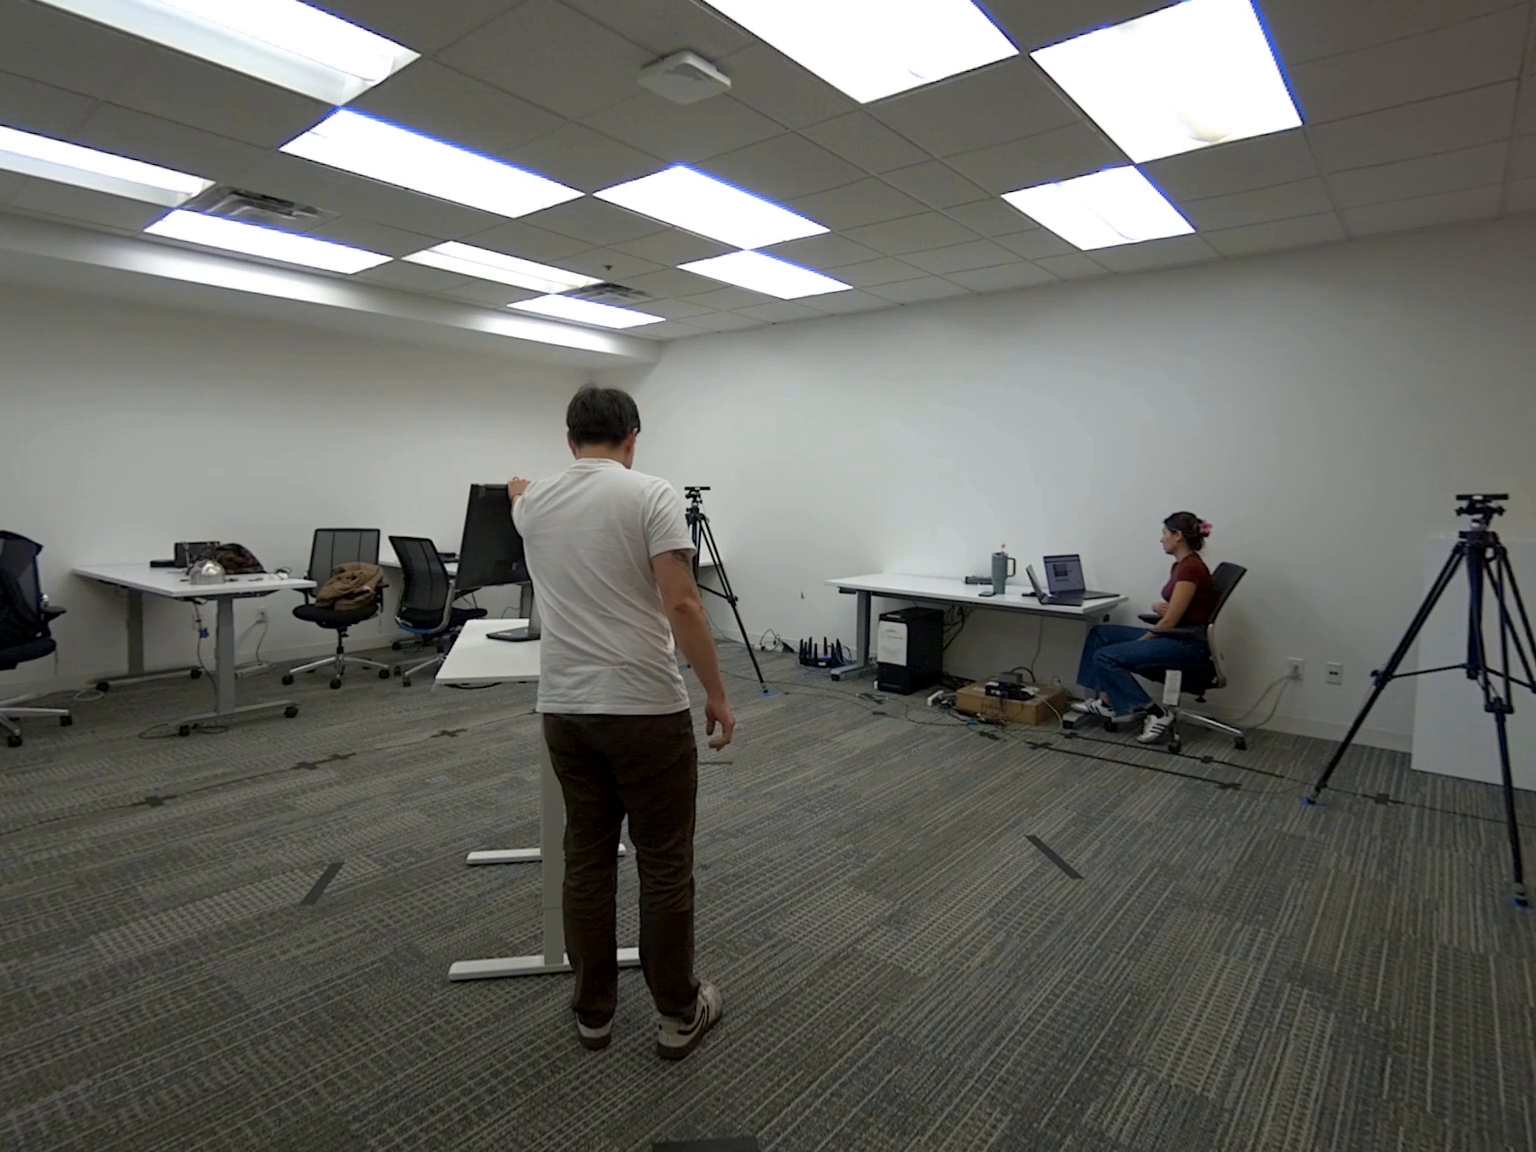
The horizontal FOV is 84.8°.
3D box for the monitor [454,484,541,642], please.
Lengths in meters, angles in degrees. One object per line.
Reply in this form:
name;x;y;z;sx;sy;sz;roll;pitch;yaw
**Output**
monitor;-0.807;-0.050;2.876;0.193;0.520;0.525;4;6;33
